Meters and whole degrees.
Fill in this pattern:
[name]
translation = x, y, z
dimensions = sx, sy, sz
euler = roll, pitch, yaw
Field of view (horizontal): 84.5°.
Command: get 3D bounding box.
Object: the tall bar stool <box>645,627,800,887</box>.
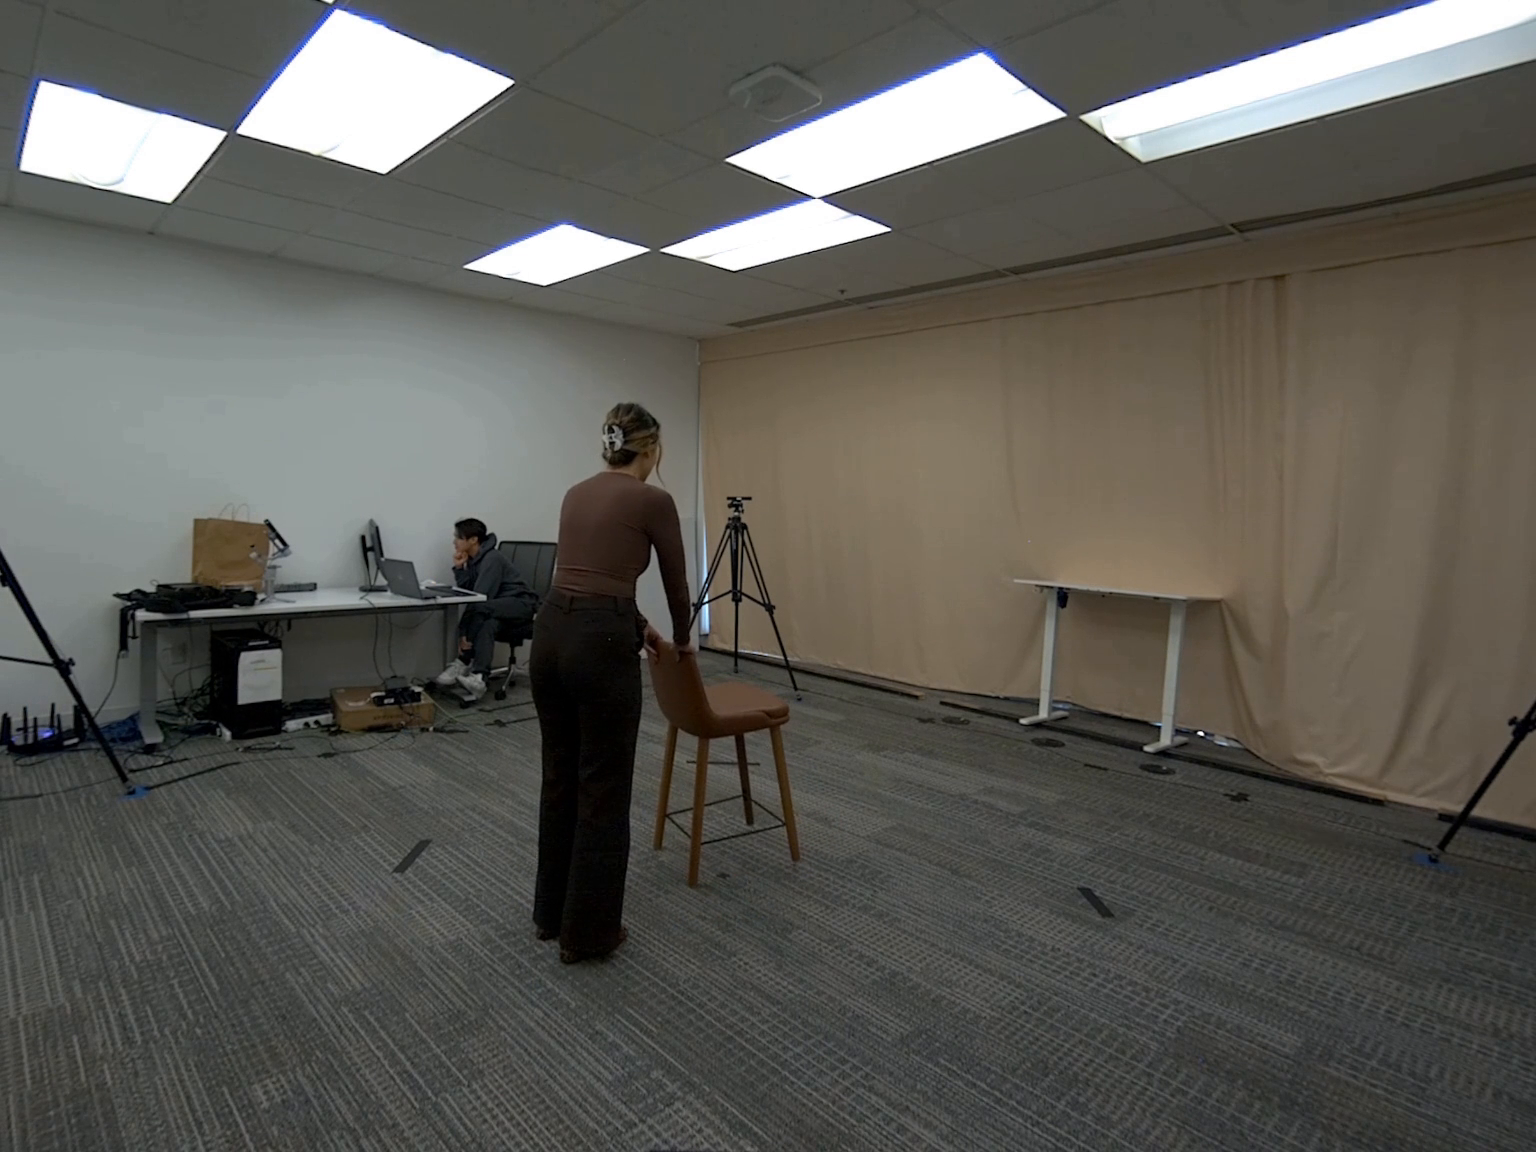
[tall bar stool]
translation = -0.194, 0.648, 3.226
dimensions = 0.459, 0.886, 0.466
euler = -6, 7, -27
